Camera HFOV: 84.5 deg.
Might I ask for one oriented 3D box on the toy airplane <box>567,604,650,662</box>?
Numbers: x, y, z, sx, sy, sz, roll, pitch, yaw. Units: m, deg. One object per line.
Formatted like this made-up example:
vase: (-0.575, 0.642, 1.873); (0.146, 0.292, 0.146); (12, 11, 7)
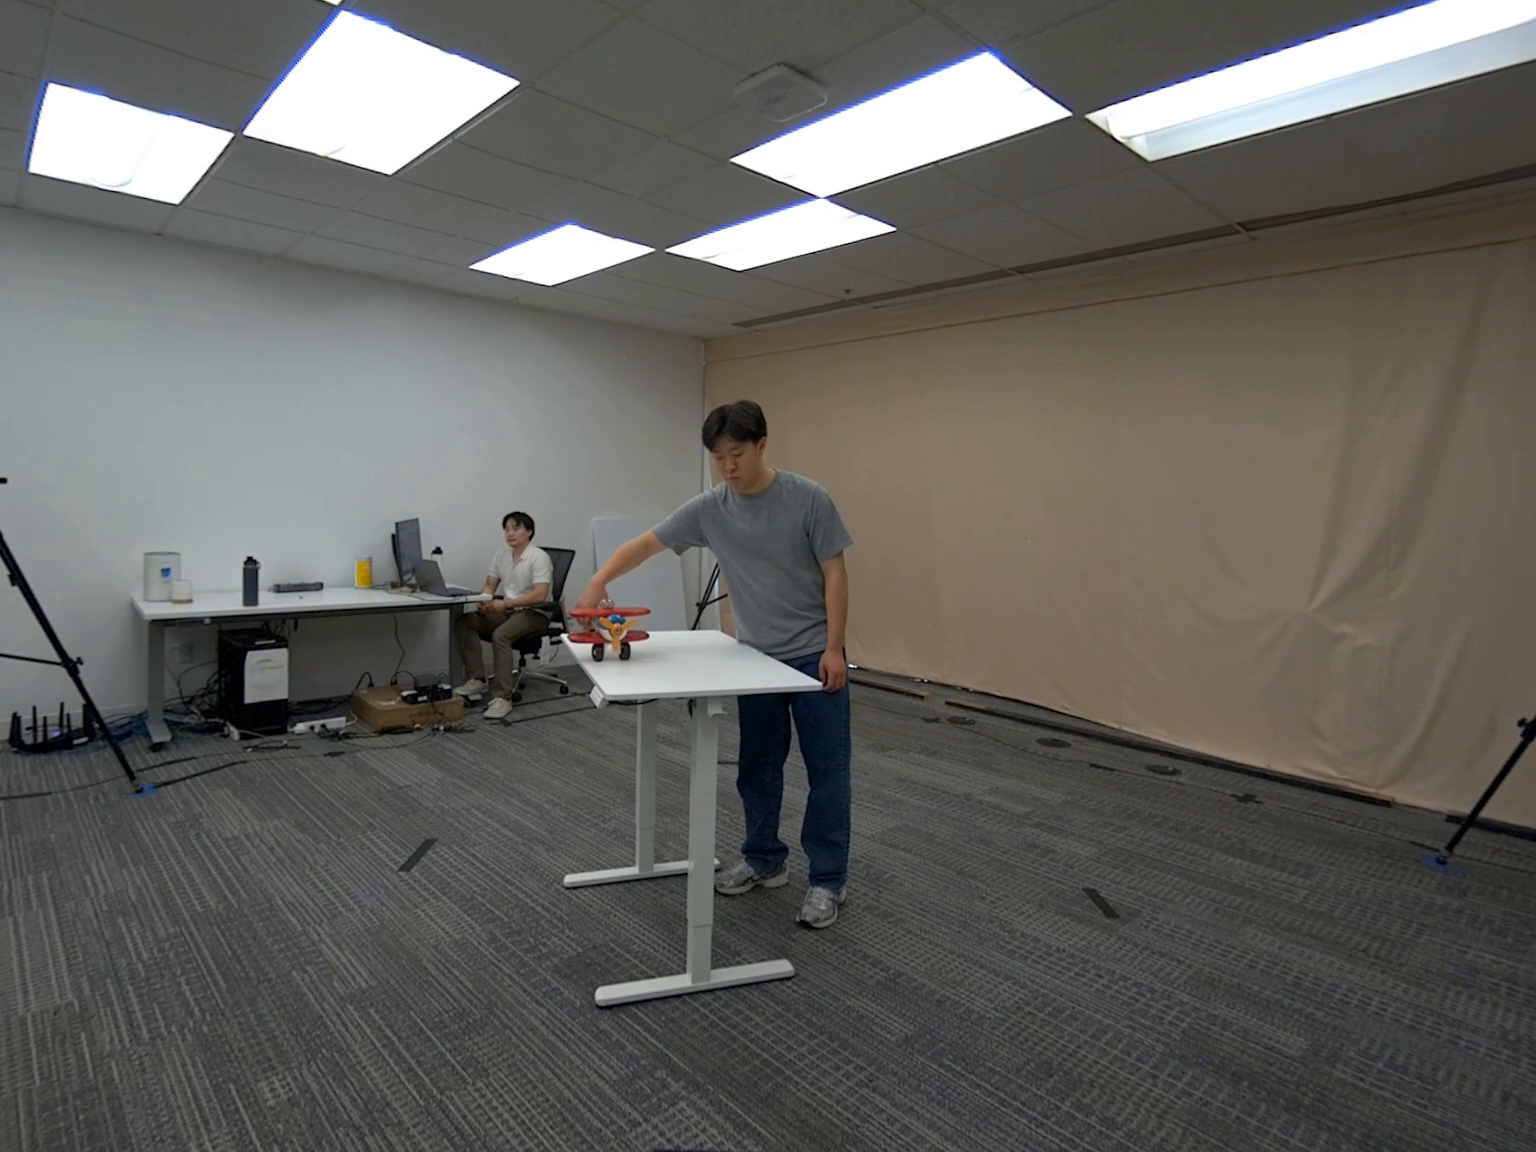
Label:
toy airplane: (-0.522, 0.157, 2.638); (0.266, 0.154, 0.247); (24, 25, 33)
